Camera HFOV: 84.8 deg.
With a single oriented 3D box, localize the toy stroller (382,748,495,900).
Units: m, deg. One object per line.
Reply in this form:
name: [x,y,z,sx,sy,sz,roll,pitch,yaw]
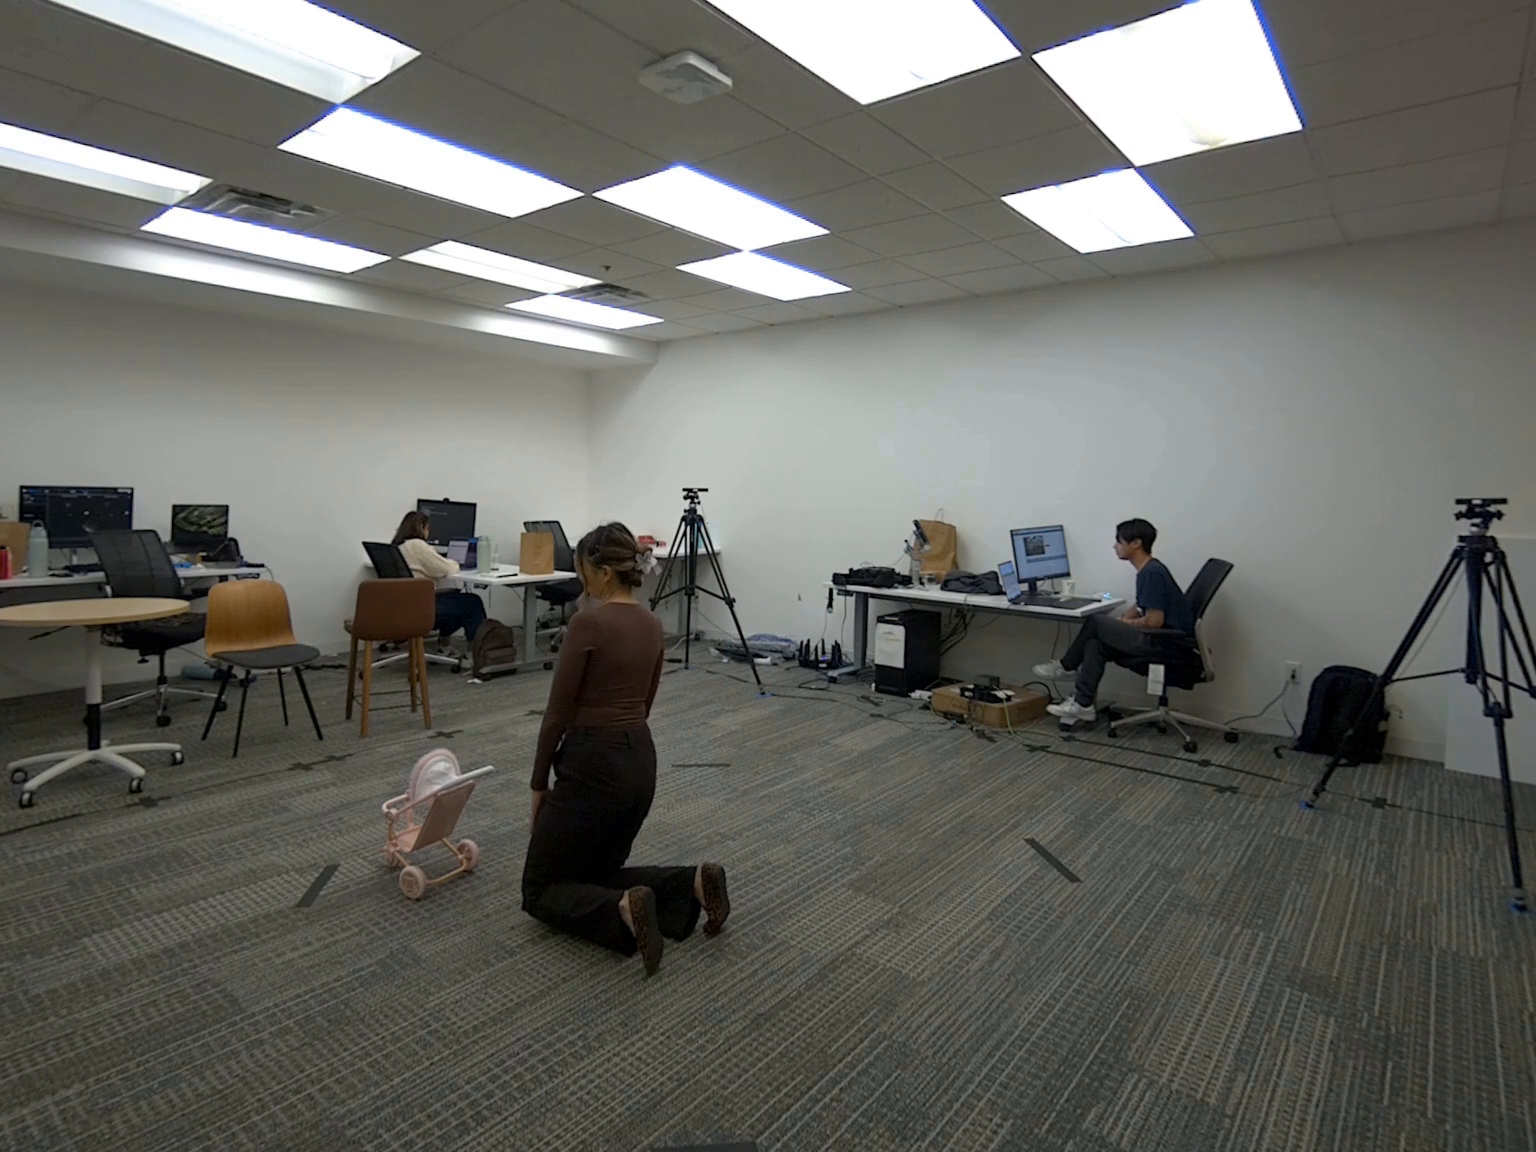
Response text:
toy stroller: [-1.202,0.845,2.983,0.353,0.531,0.274,23,13,29]
